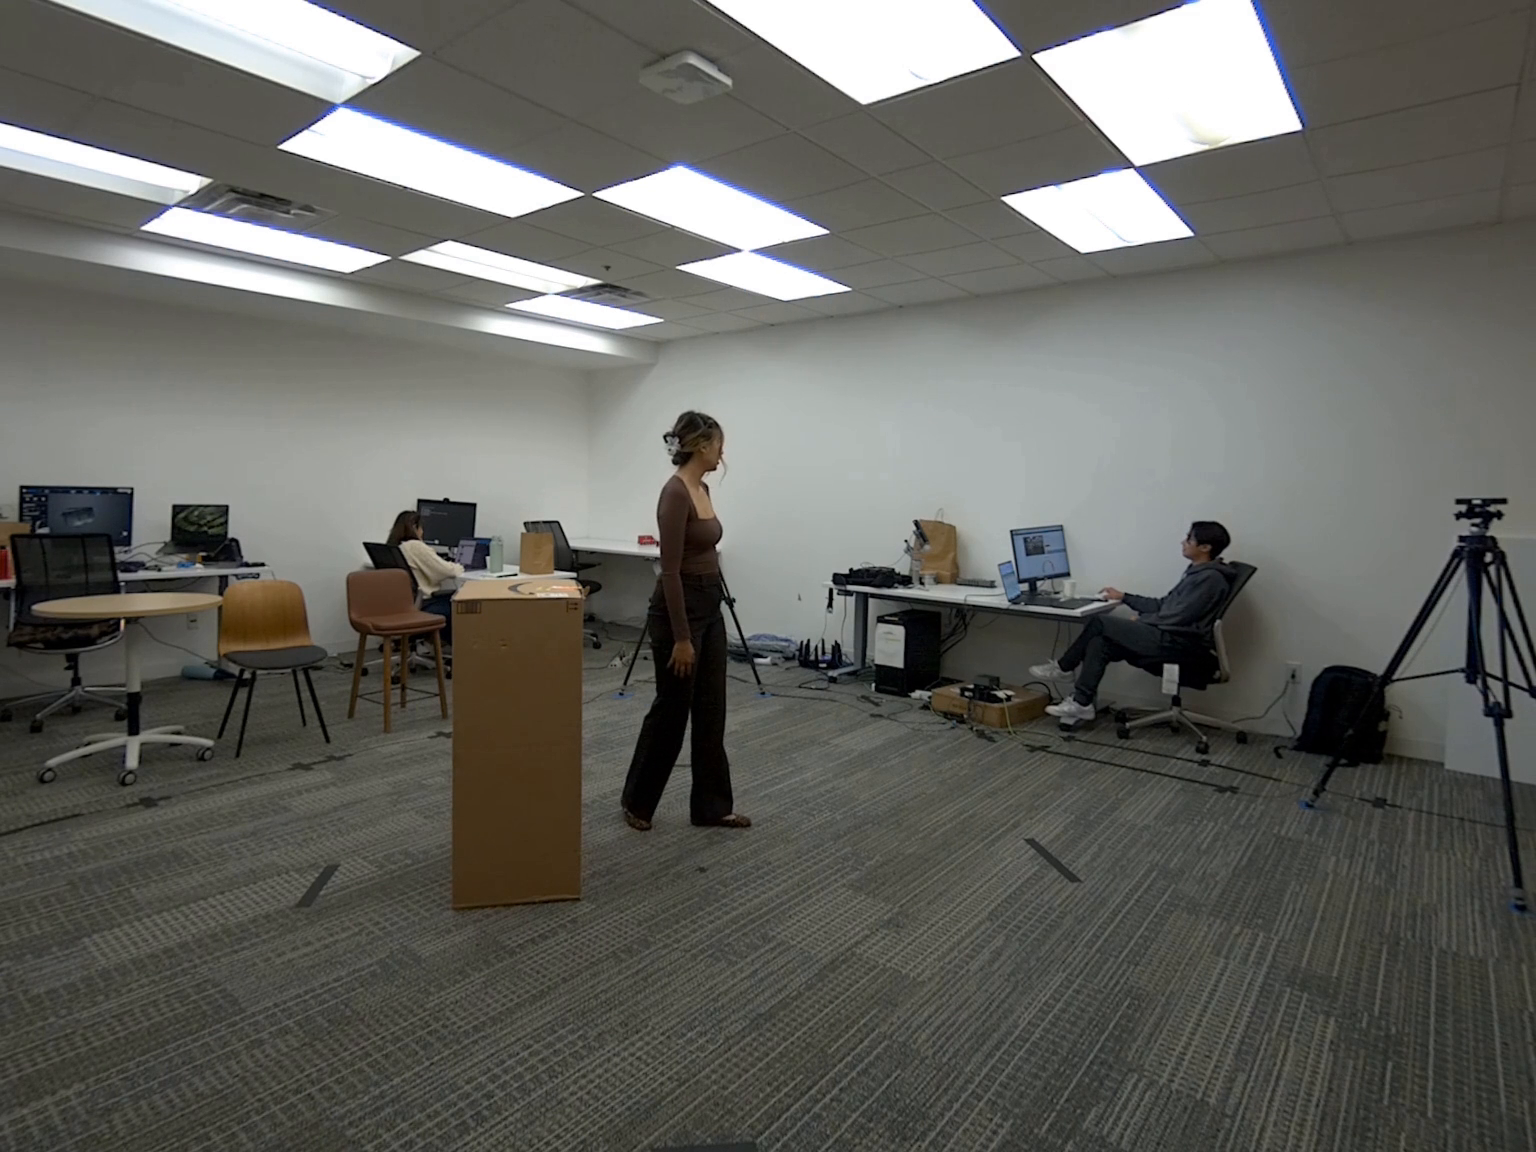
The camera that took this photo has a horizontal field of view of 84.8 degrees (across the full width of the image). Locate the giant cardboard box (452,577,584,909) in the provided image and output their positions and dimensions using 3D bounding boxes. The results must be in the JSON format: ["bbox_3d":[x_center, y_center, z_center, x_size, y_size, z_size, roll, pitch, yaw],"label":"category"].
[{"bbox_3d":[-0.913,0.548,3.074,0.440,1.024,0.594,1,3,-14],"label":"giant cardboard box"}]
